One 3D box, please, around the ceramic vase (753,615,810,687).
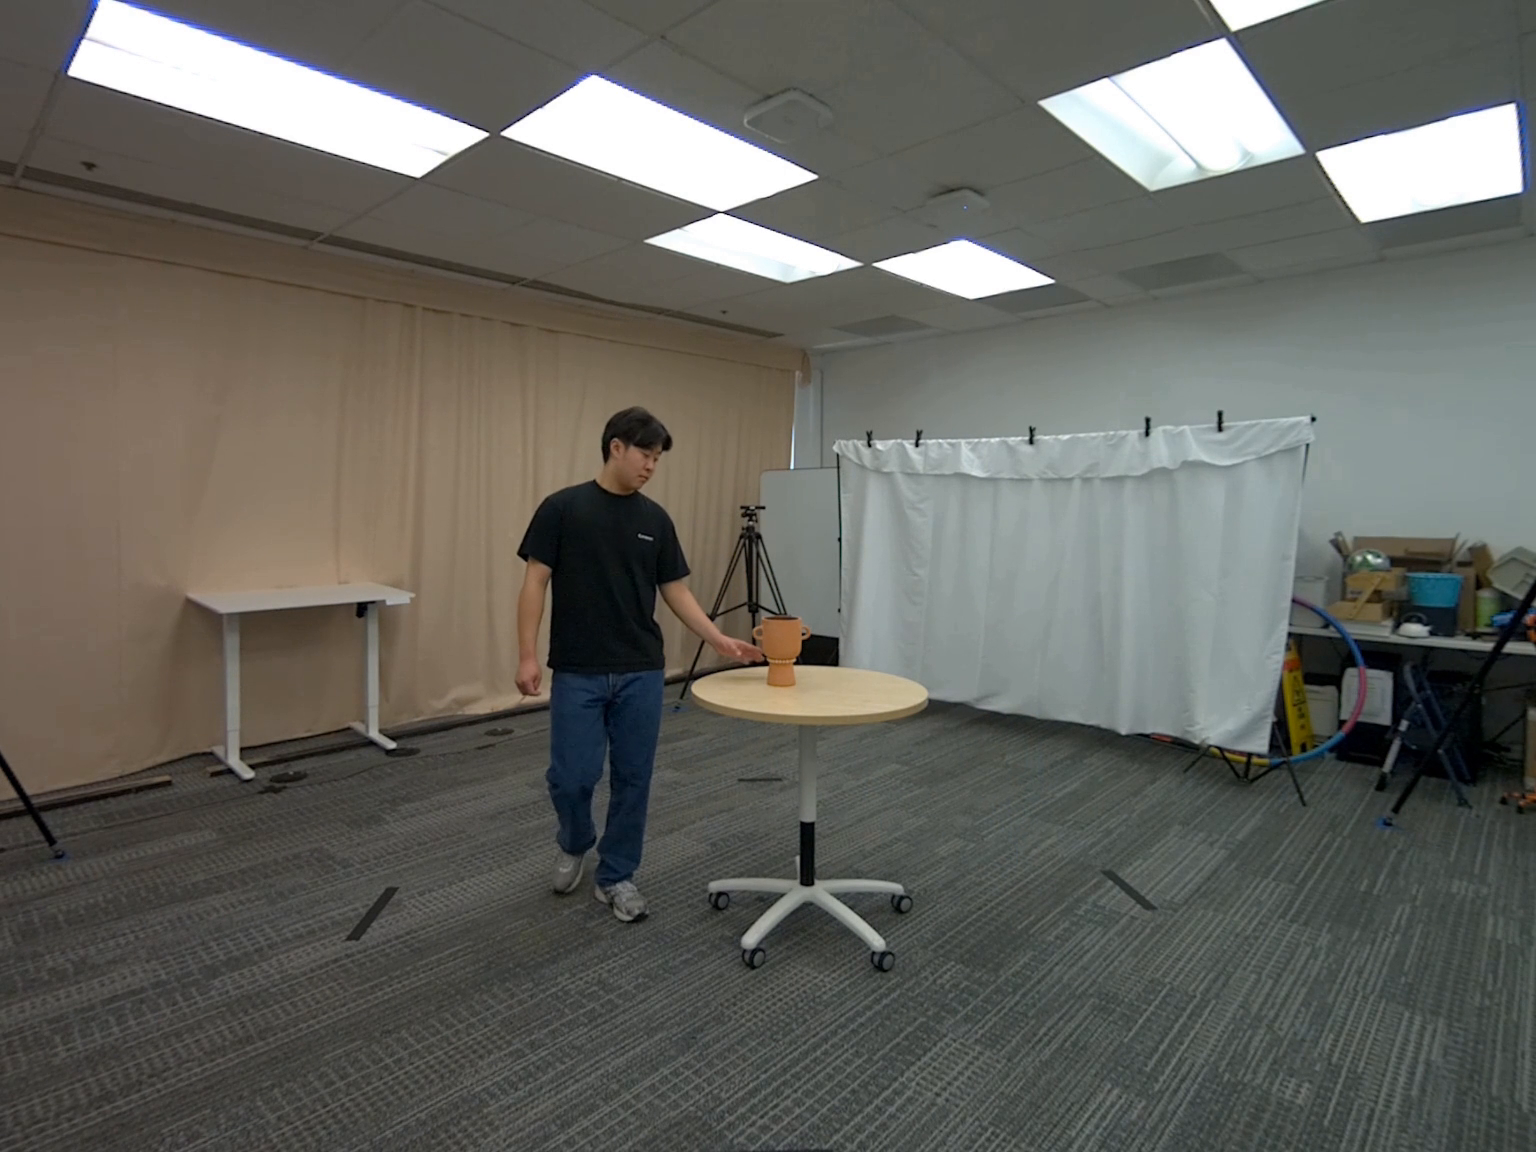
[{"bbox_3d":[0.049,0.251,2.803,0.163,0.219,0.131,1,2,26],"label":"ceramic vase"}]
